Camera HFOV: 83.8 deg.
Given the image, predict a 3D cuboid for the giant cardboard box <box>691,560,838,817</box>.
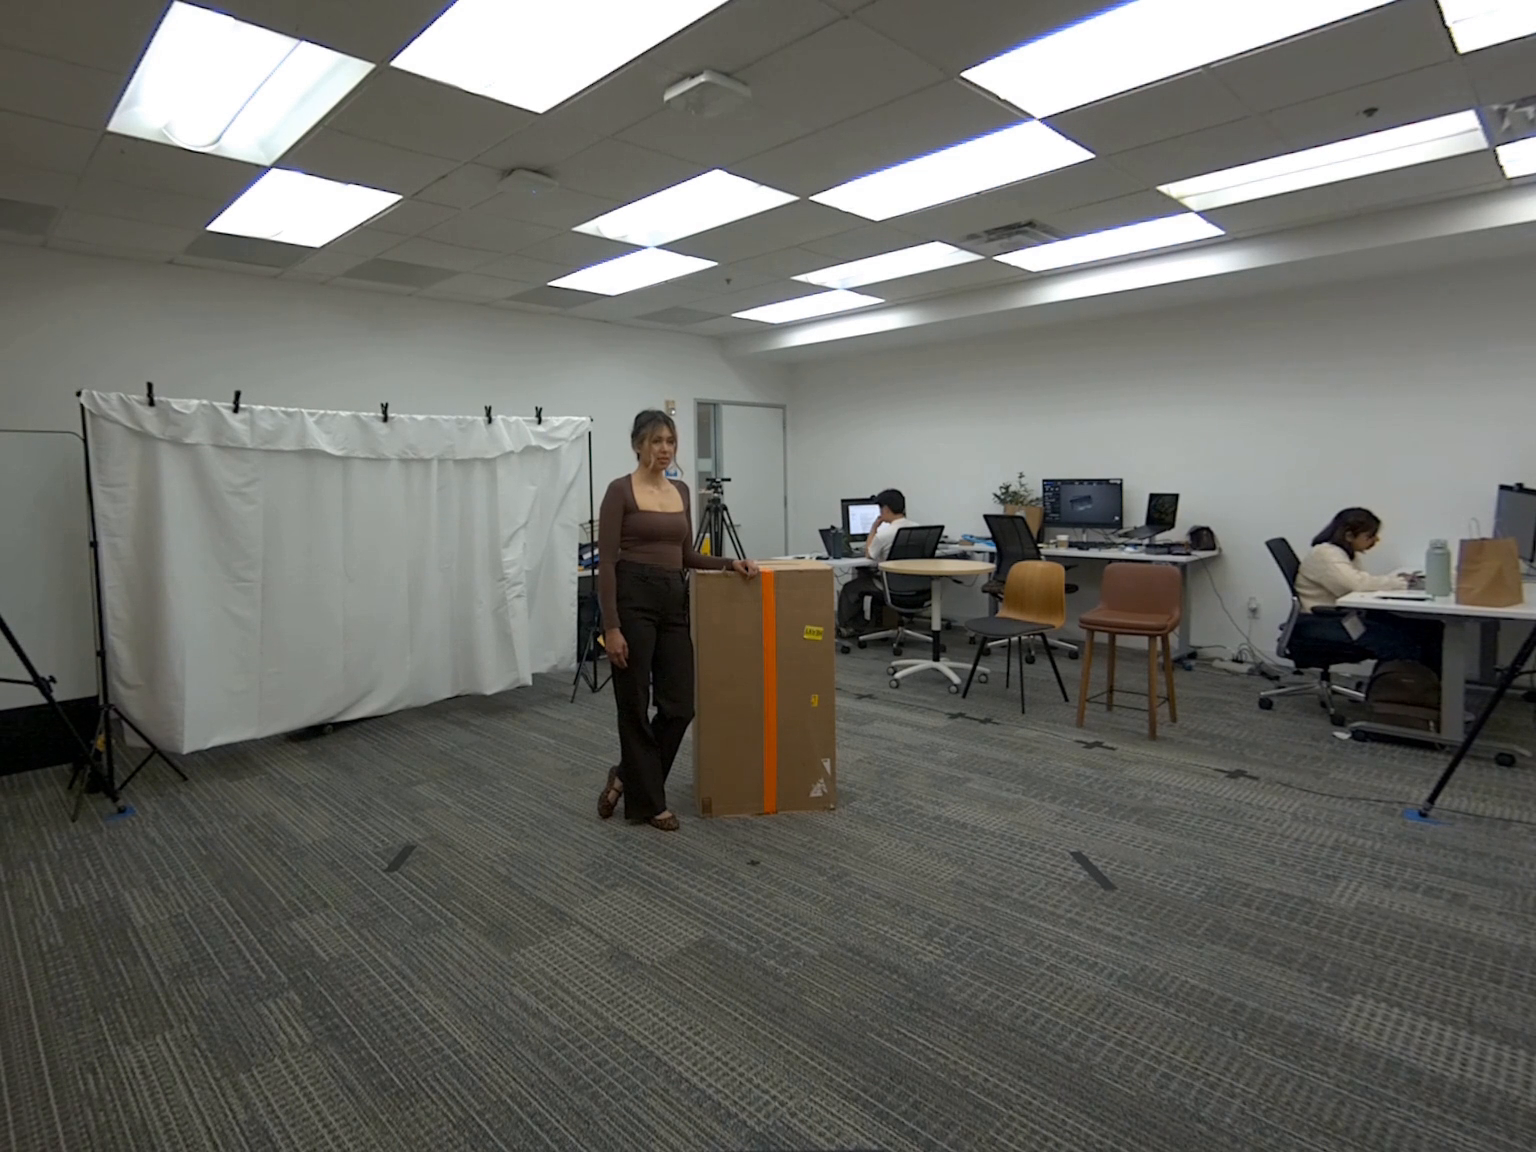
[{"bbox_3d":[-0.030,0.461,3.738,0.580,1.023,0.452,-1,4,-8],"label":"giant cardboard box"}]
